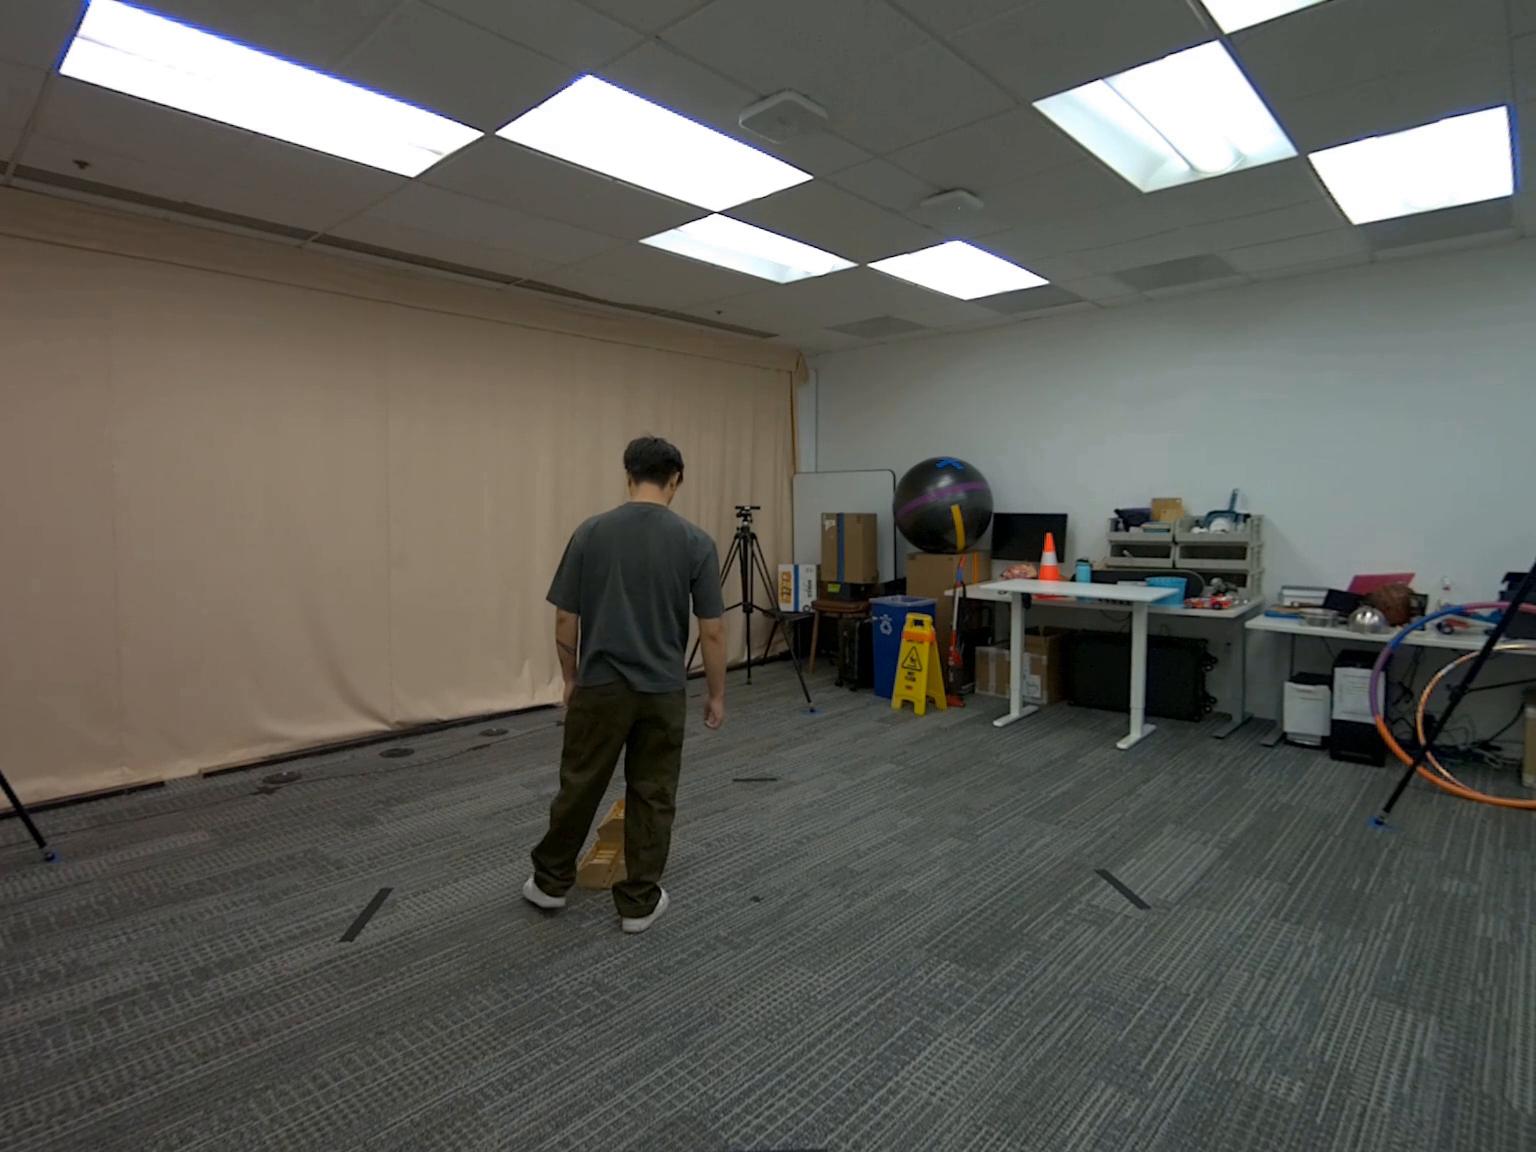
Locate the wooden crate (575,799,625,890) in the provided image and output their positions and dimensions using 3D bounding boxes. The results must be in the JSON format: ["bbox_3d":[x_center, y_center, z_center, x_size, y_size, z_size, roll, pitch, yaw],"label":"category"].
[{"bbox_3d":[-0.566,0.995,3.214,0.304,0.273,0.323,0,4,5],"label":"wooden crate"}]
